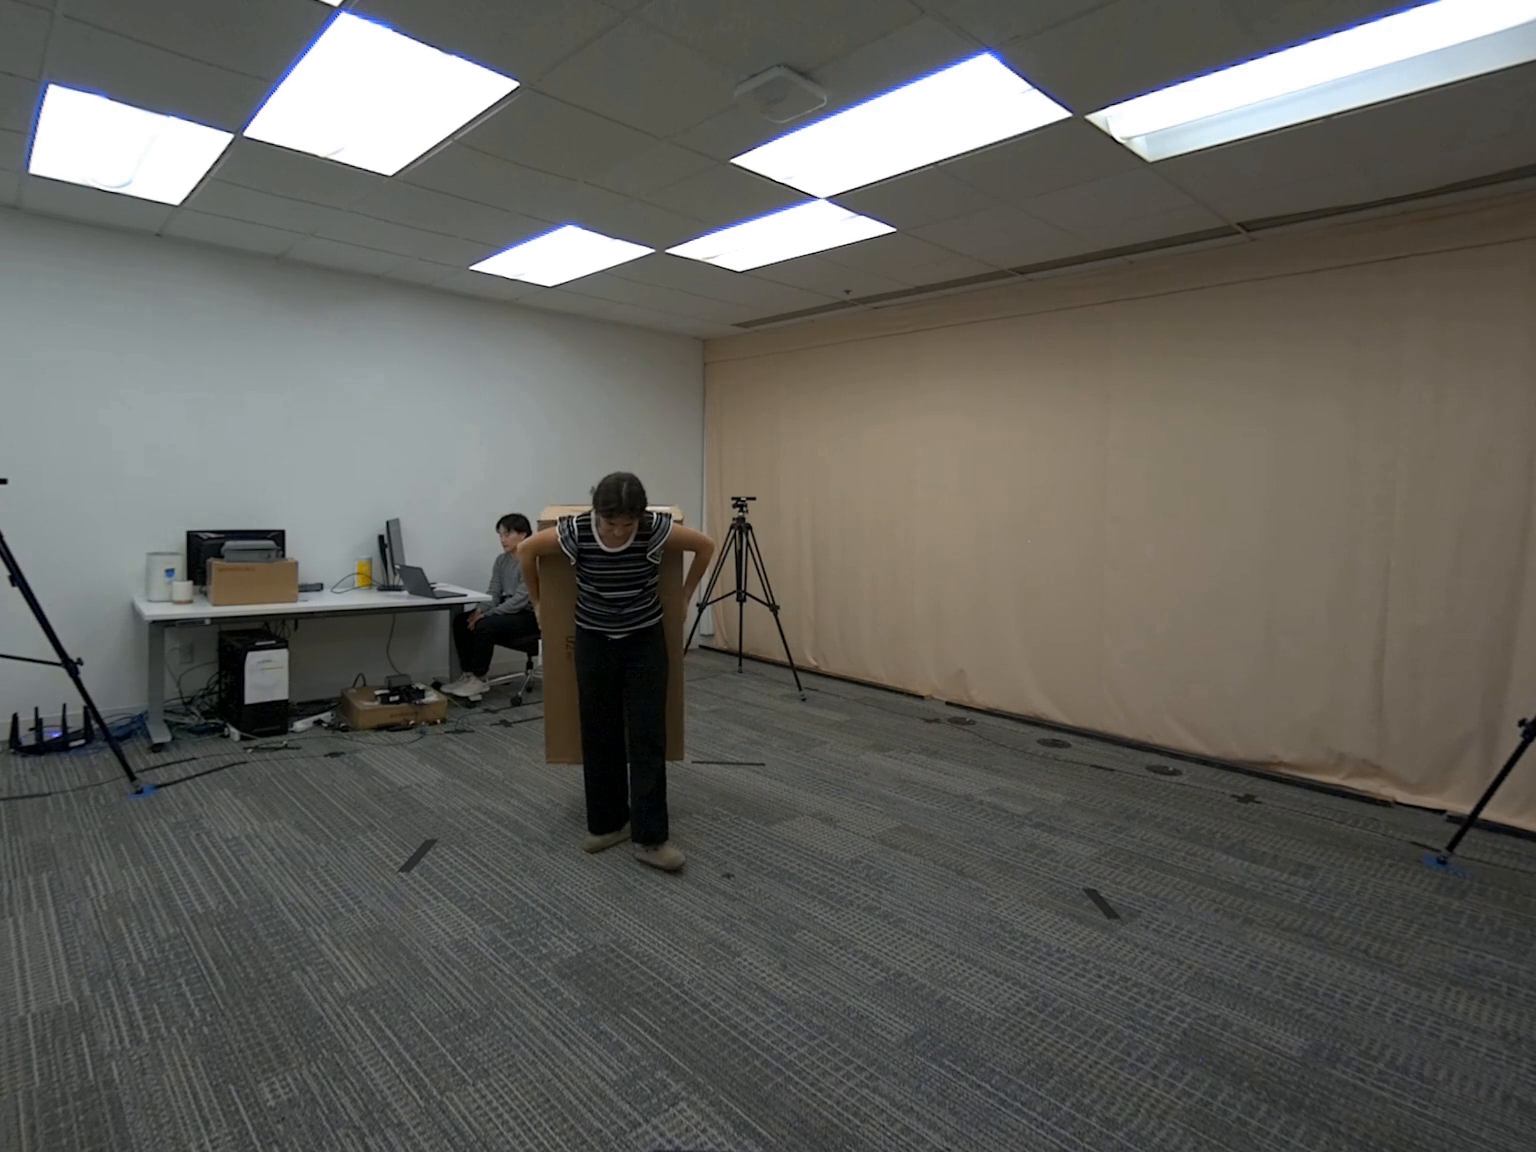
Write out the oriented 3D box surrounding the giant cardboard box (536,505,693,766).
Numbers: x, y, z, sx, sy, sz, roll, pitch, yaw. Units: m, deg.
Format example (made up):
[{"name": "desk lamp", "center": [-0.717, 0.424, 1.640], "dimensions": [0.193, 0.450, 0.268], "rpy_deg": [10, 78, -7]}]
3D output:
[{"name": "giant cardboard box", "center": [-0.655, 0.235, 3.590], "dimensions": [0.574, 1.018, 0.431], "rpy_deg": [0, 10, -7]}]
